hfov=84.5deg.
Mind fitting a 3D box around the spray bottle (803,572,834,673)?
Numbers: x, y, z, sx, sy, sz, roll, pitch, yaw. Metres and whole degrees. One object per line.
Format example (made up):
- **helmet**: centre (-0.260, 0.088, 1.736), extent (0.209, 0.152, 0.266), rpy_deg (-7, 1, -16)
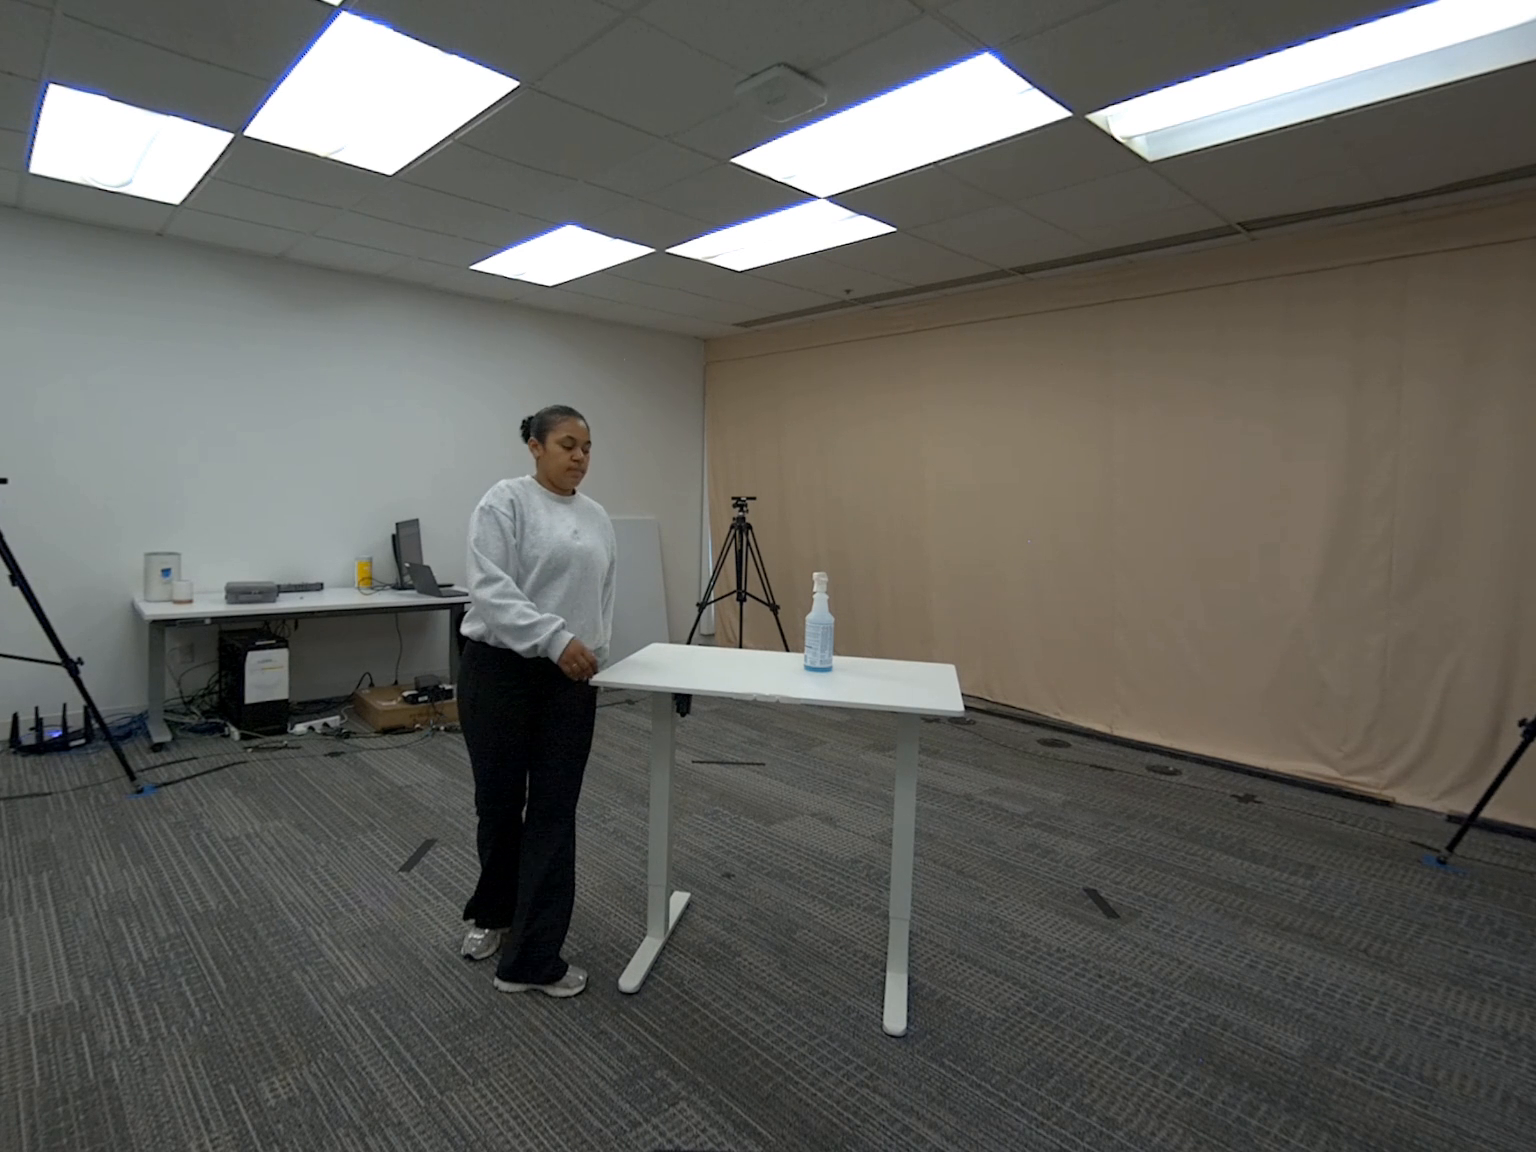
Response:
- **spray bottle**: centre (0.150, 0.138, 2.522), extent (0.088, 0.296, 0.089), rpy_deg (-2, 5, -37)
